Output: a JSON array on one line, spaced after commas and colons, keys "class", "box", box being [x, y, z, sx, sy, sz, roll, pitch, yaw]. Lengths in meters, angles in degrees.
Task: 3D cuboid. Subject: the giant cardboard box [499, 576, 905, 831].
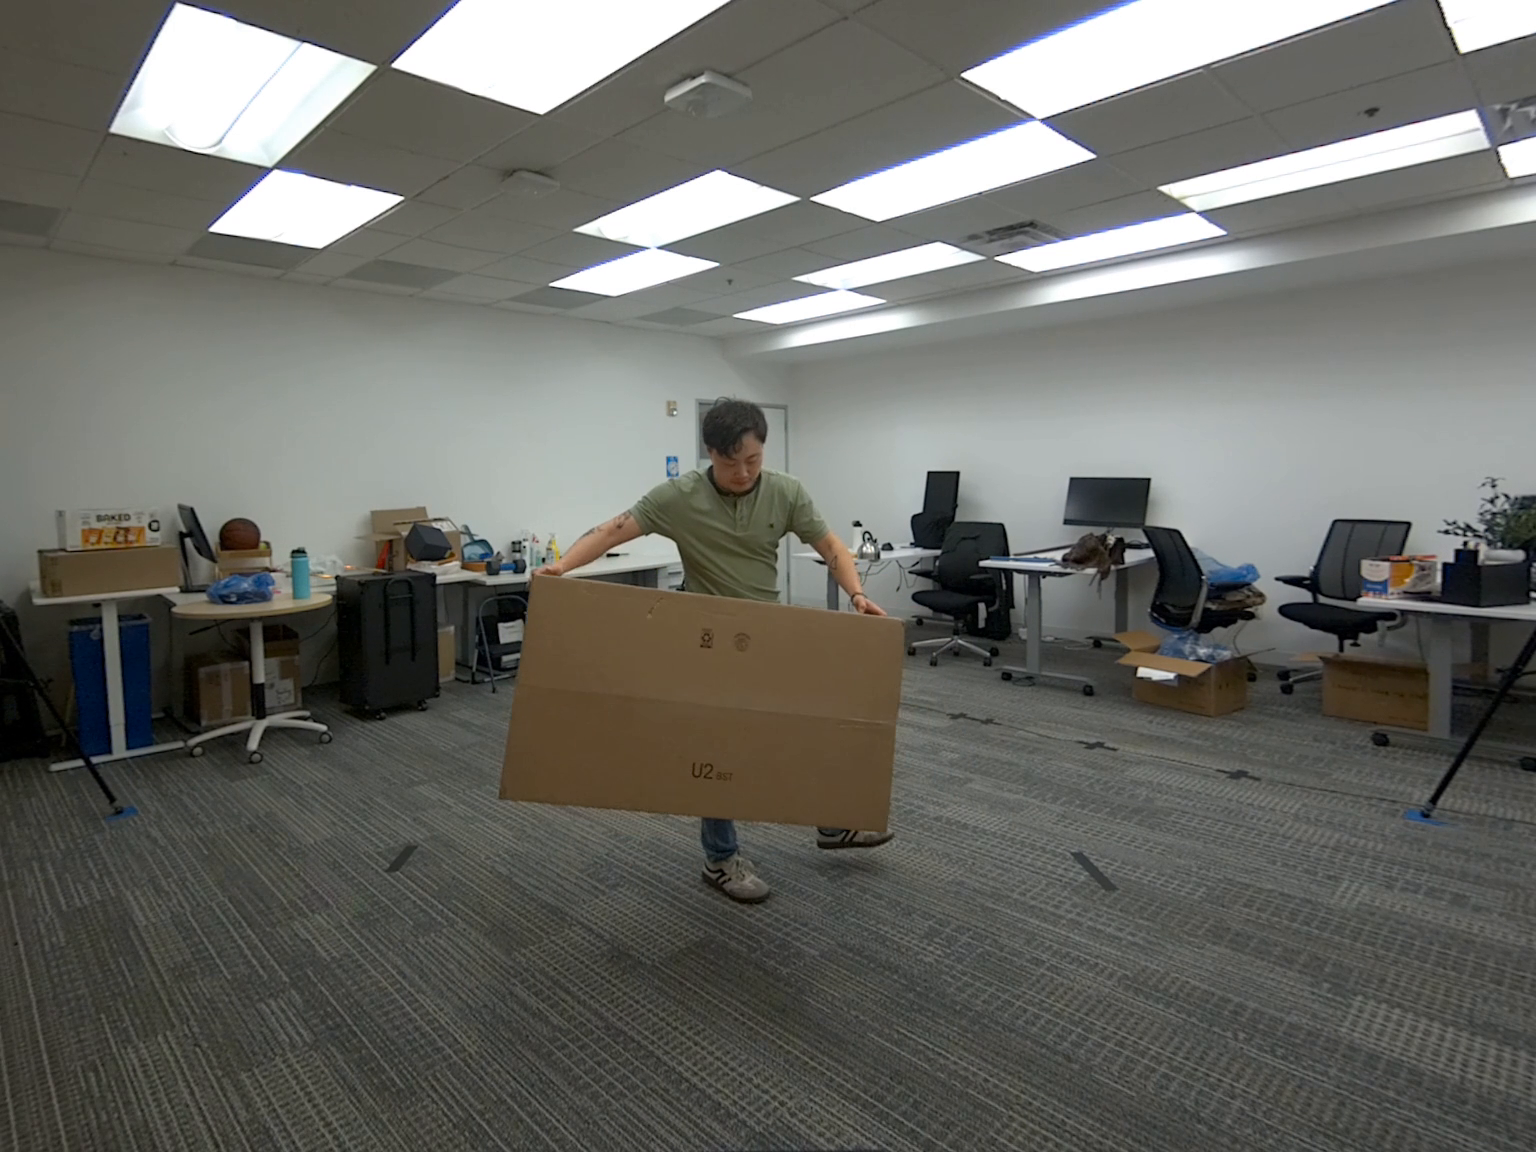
[{"class": "giant cardboard box", "box": [-0.183, 0.361, 2.450, 1.016, 0.581, 0.427, 7, -8, -9]}]
